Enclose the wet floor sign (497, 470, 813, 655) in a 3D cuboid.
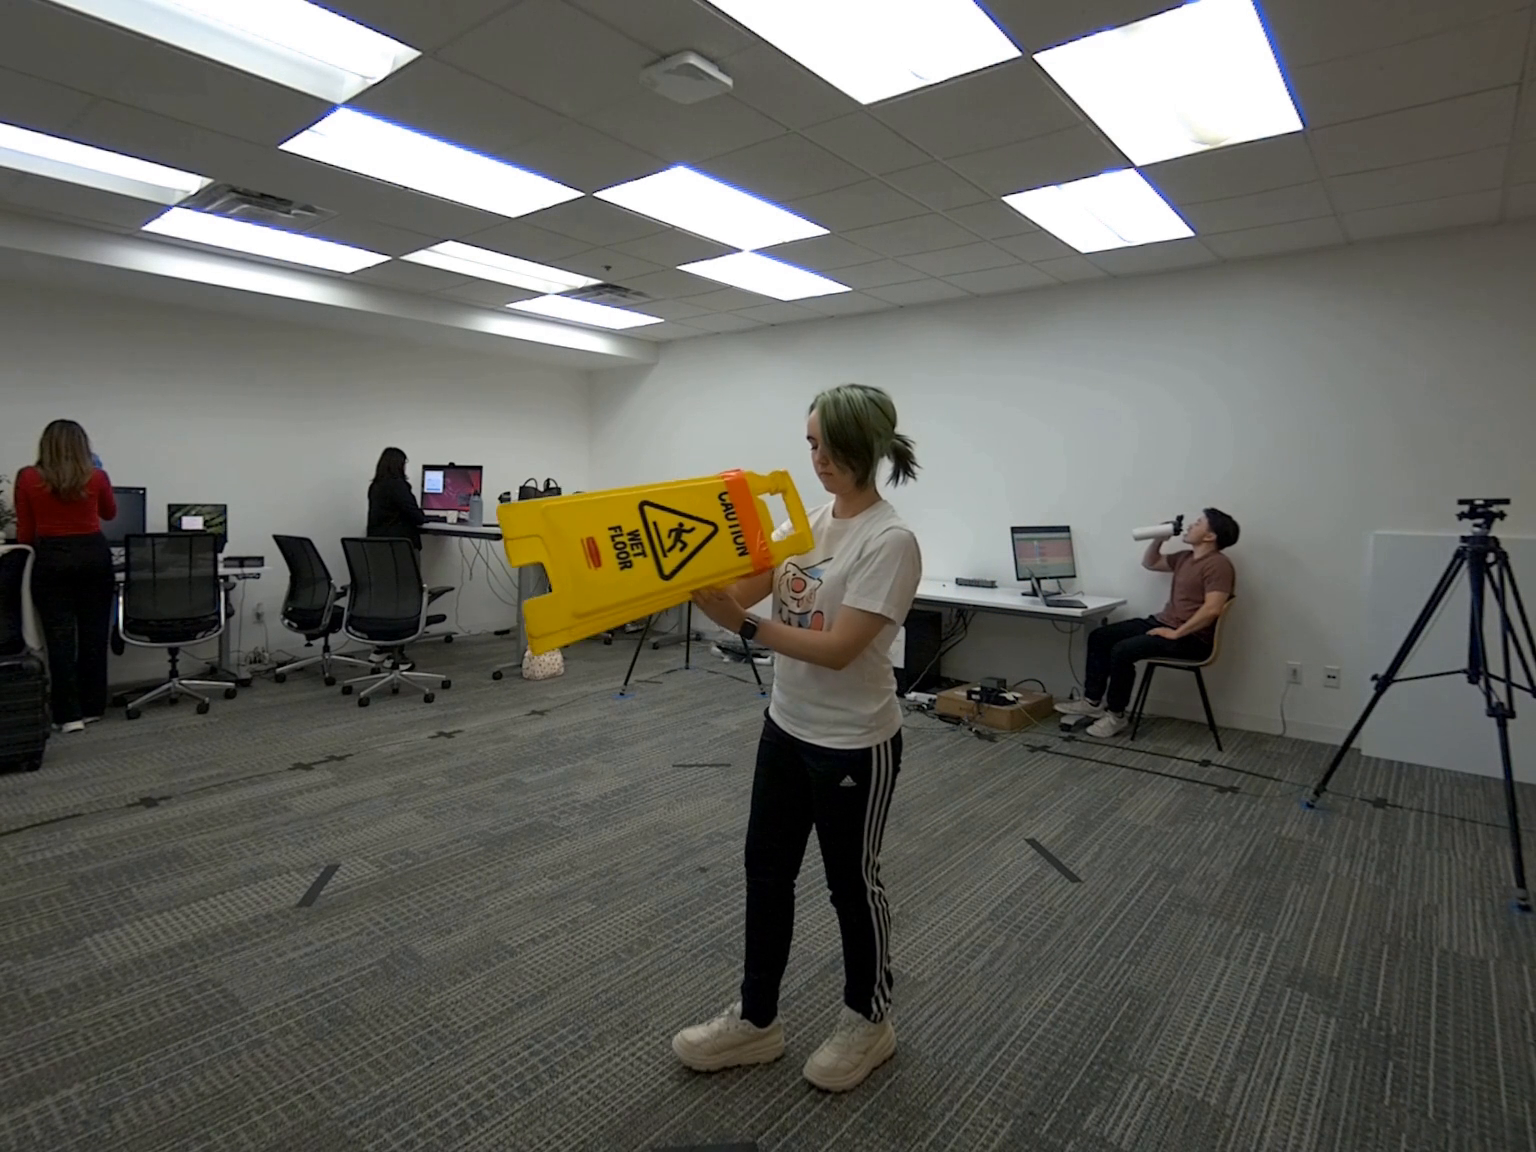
[{"bbox_3d":[-0.224,-0.065,1.831,0.639,0.286,0.289,-16,-10,-14],"label":"wet floor sign"}]
